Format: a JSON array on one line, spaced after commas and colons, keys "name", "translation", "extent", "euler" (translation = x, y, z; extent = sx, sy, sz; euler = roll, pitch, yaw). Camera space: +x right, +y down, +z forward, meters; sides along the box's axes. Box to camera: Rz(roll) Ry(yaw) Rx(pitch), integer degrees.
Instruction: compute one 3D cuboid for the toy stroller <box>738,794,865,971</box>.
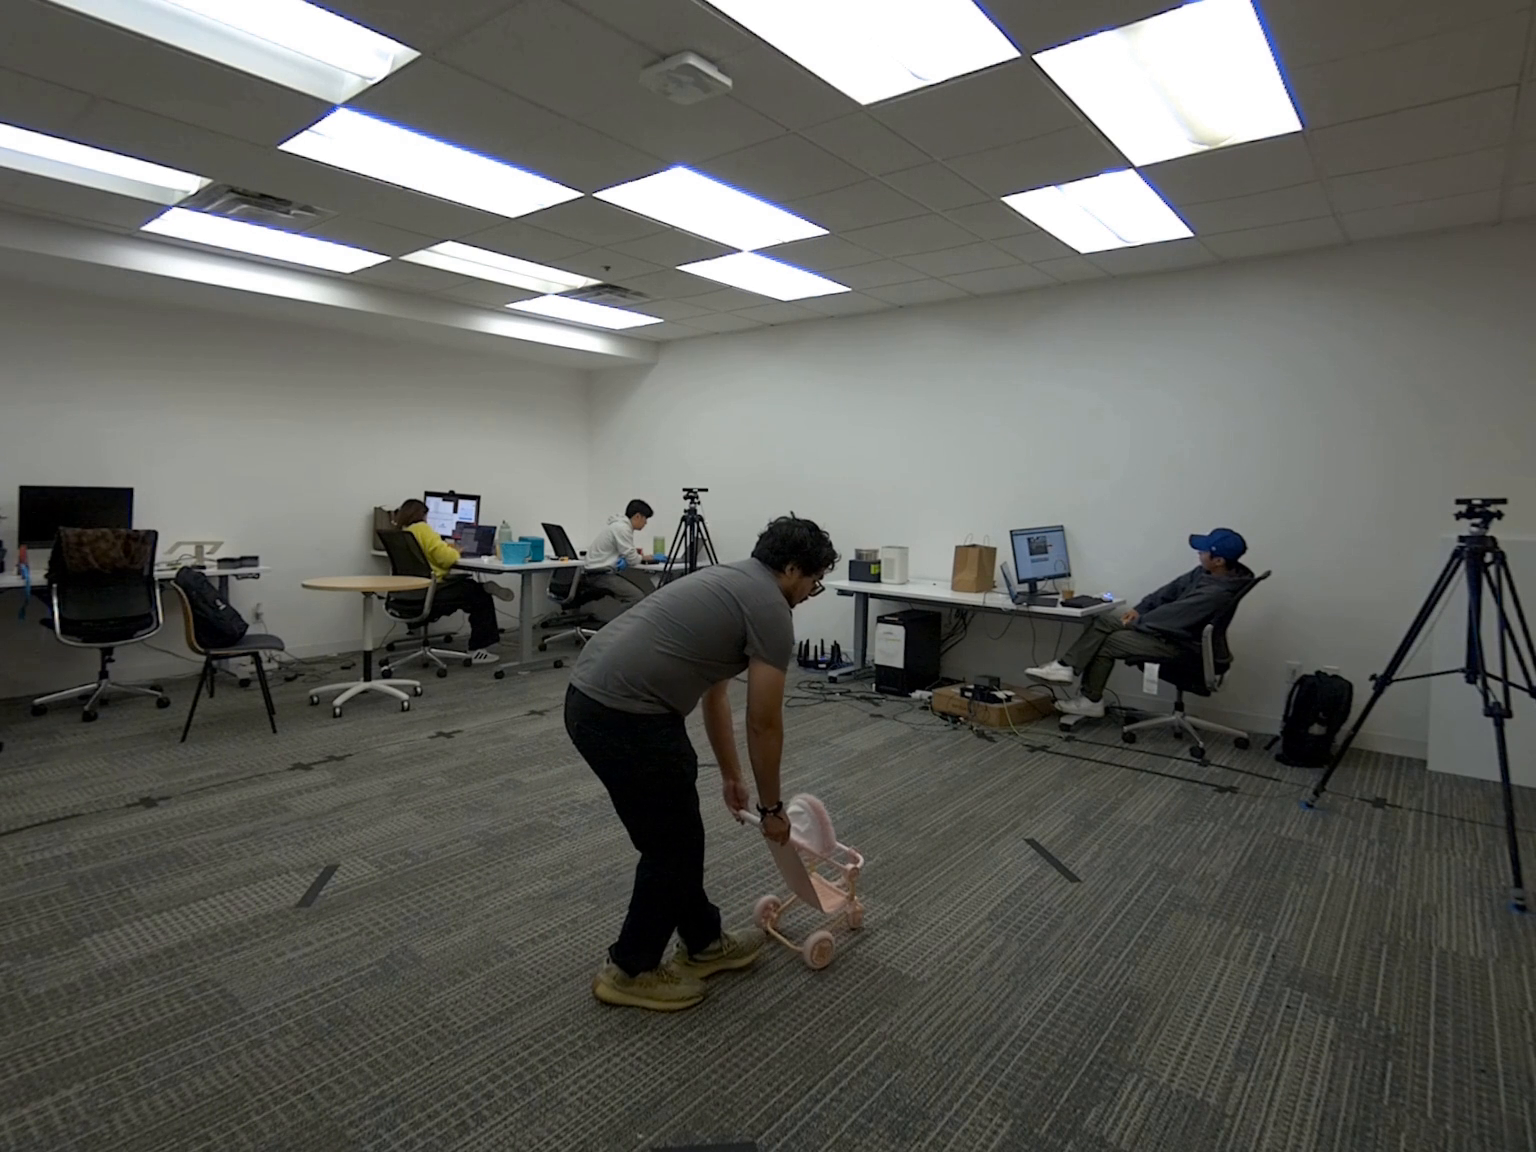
[{"name": "toy stroller", "translation": [0.124, 0.898, 2.604], "extent": [0.335, 0.528, 0.290], "euler": [-18, 13, -29]}]
